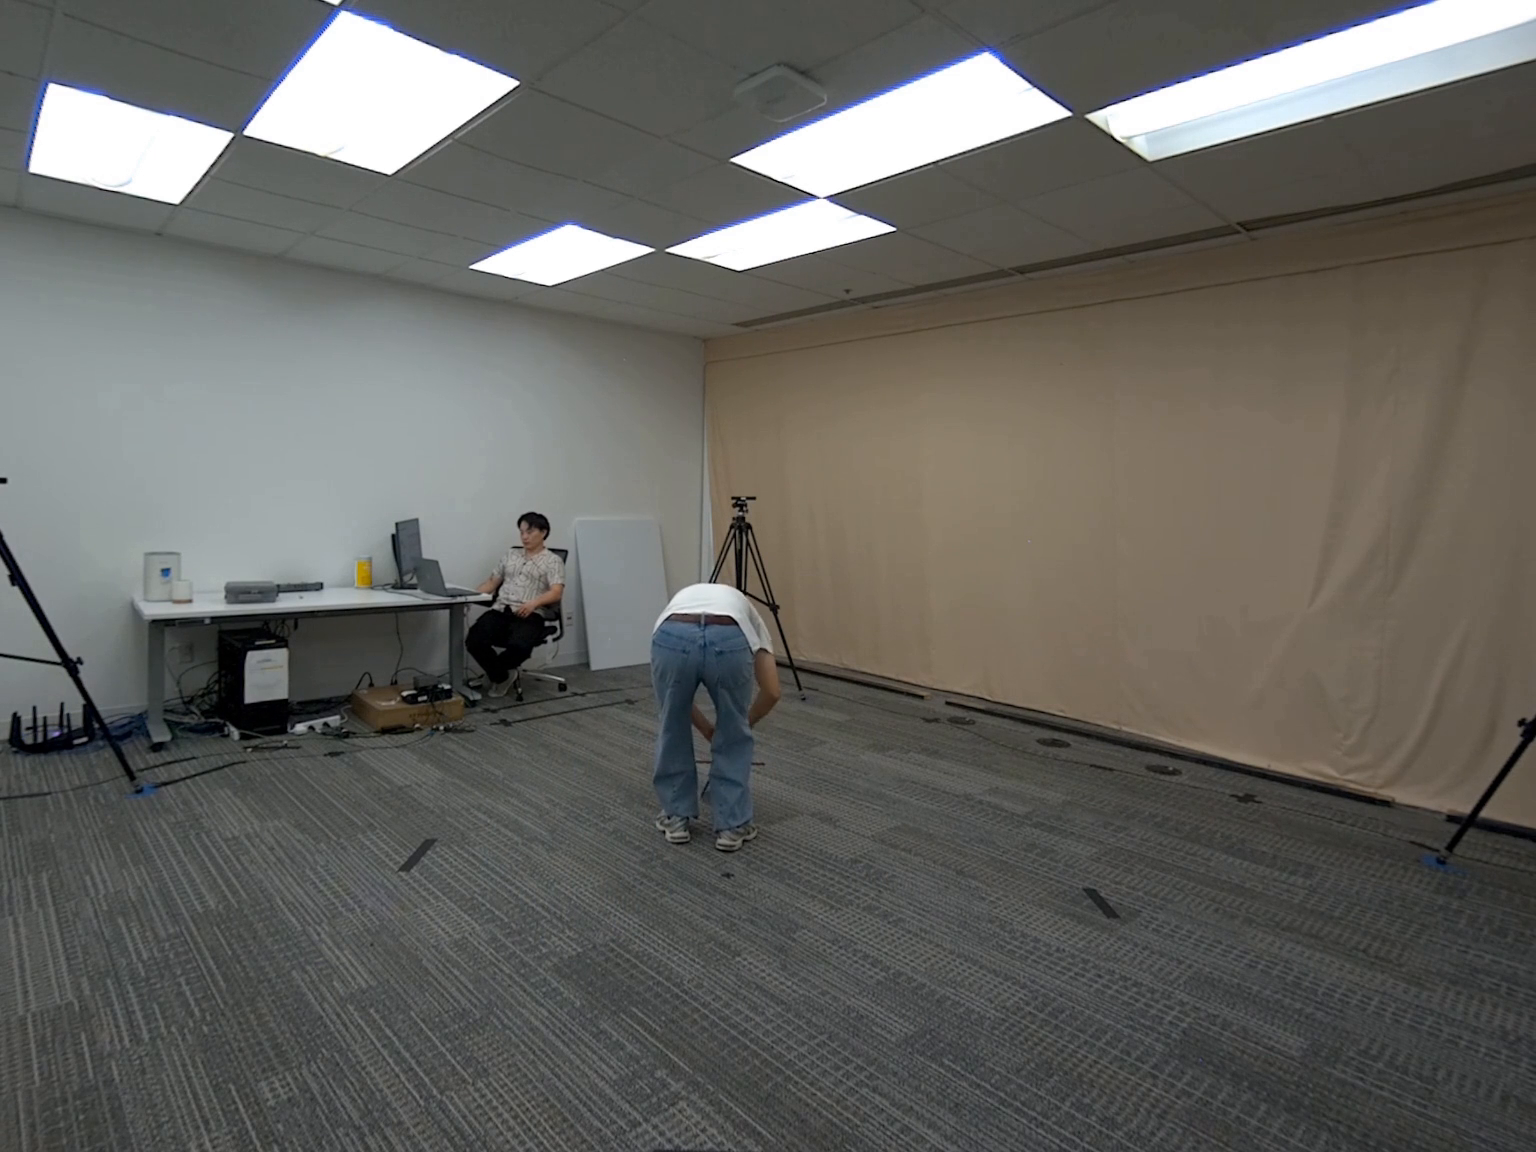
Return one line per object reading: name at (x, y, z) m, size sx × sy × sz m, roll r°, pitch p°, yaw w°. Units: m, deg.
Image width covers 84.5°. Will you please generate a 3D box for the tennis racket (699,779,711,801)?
tennis racket at (-0.233, 0.859, 3.881) m, size 0.032 × 0.429 × 0.214 m, roll 25°, pitch 27°, yaw 3°
